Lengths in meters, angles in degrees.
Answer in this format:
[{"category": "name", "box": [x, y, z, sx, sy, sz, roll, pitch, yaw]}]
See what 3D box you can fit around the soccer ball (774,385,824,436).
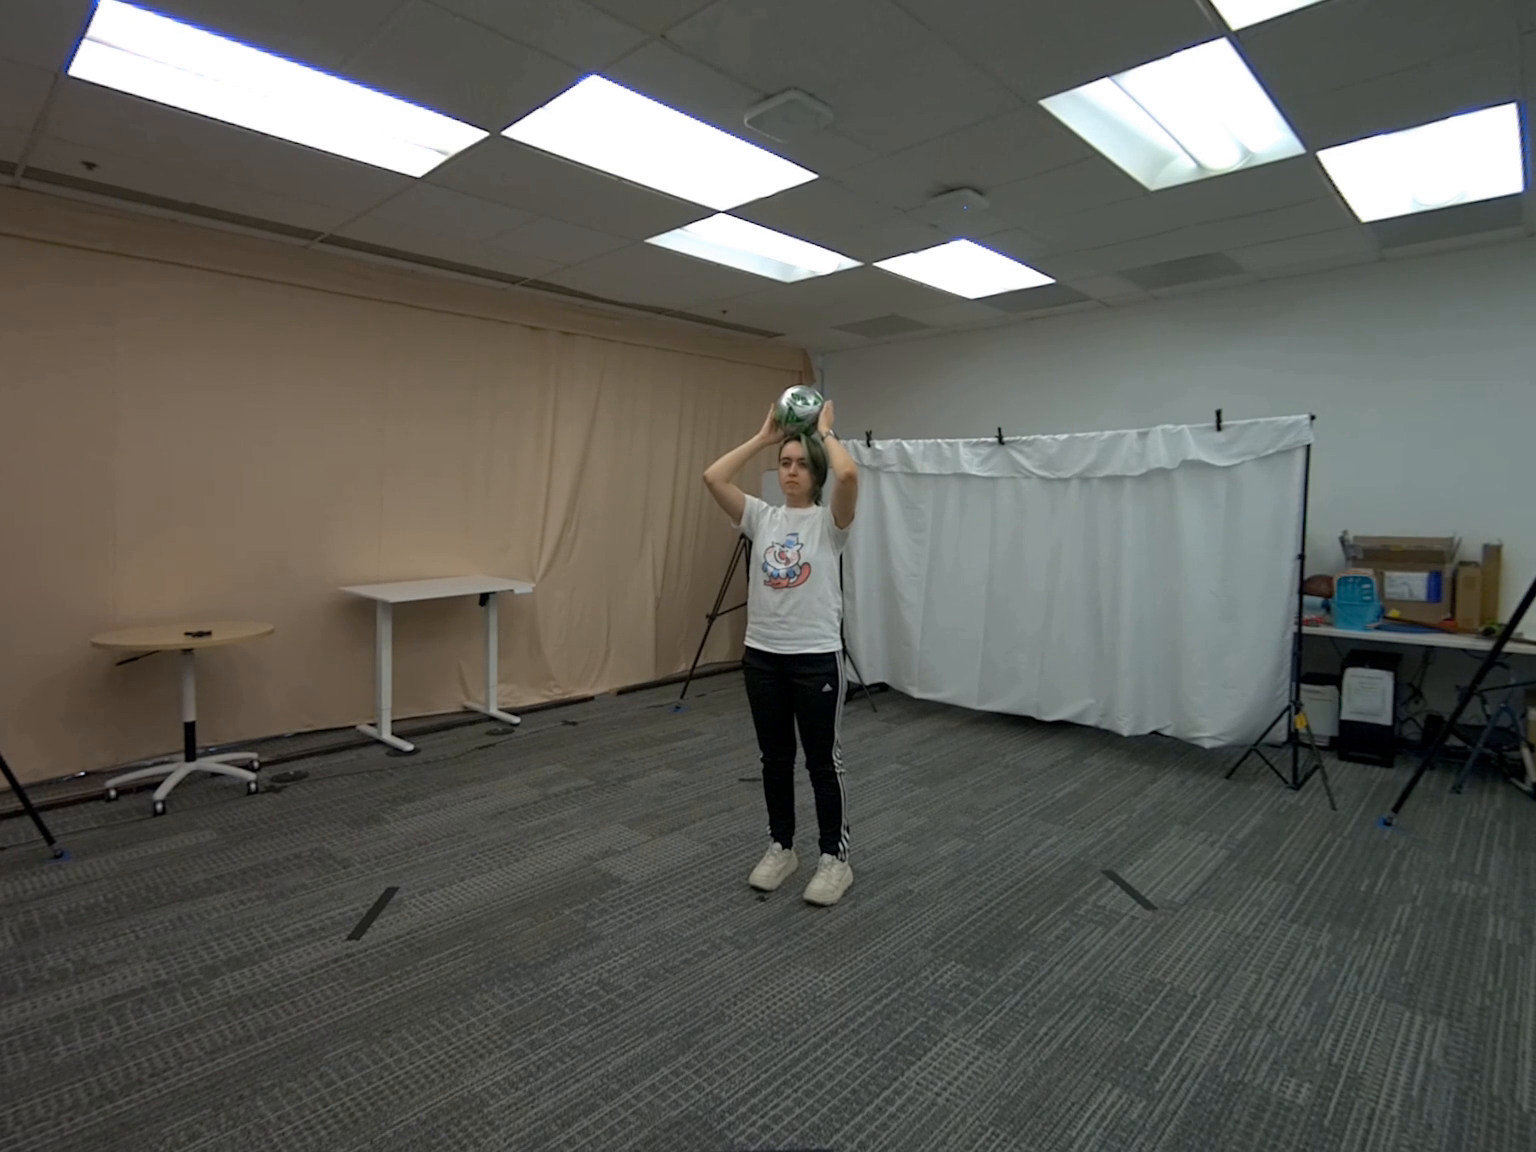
[{"category": "soccer ball", "box": [0.127, -0.592, 3.046, 0.187, 0.187, 0.188, 0, 4, -2]}]
